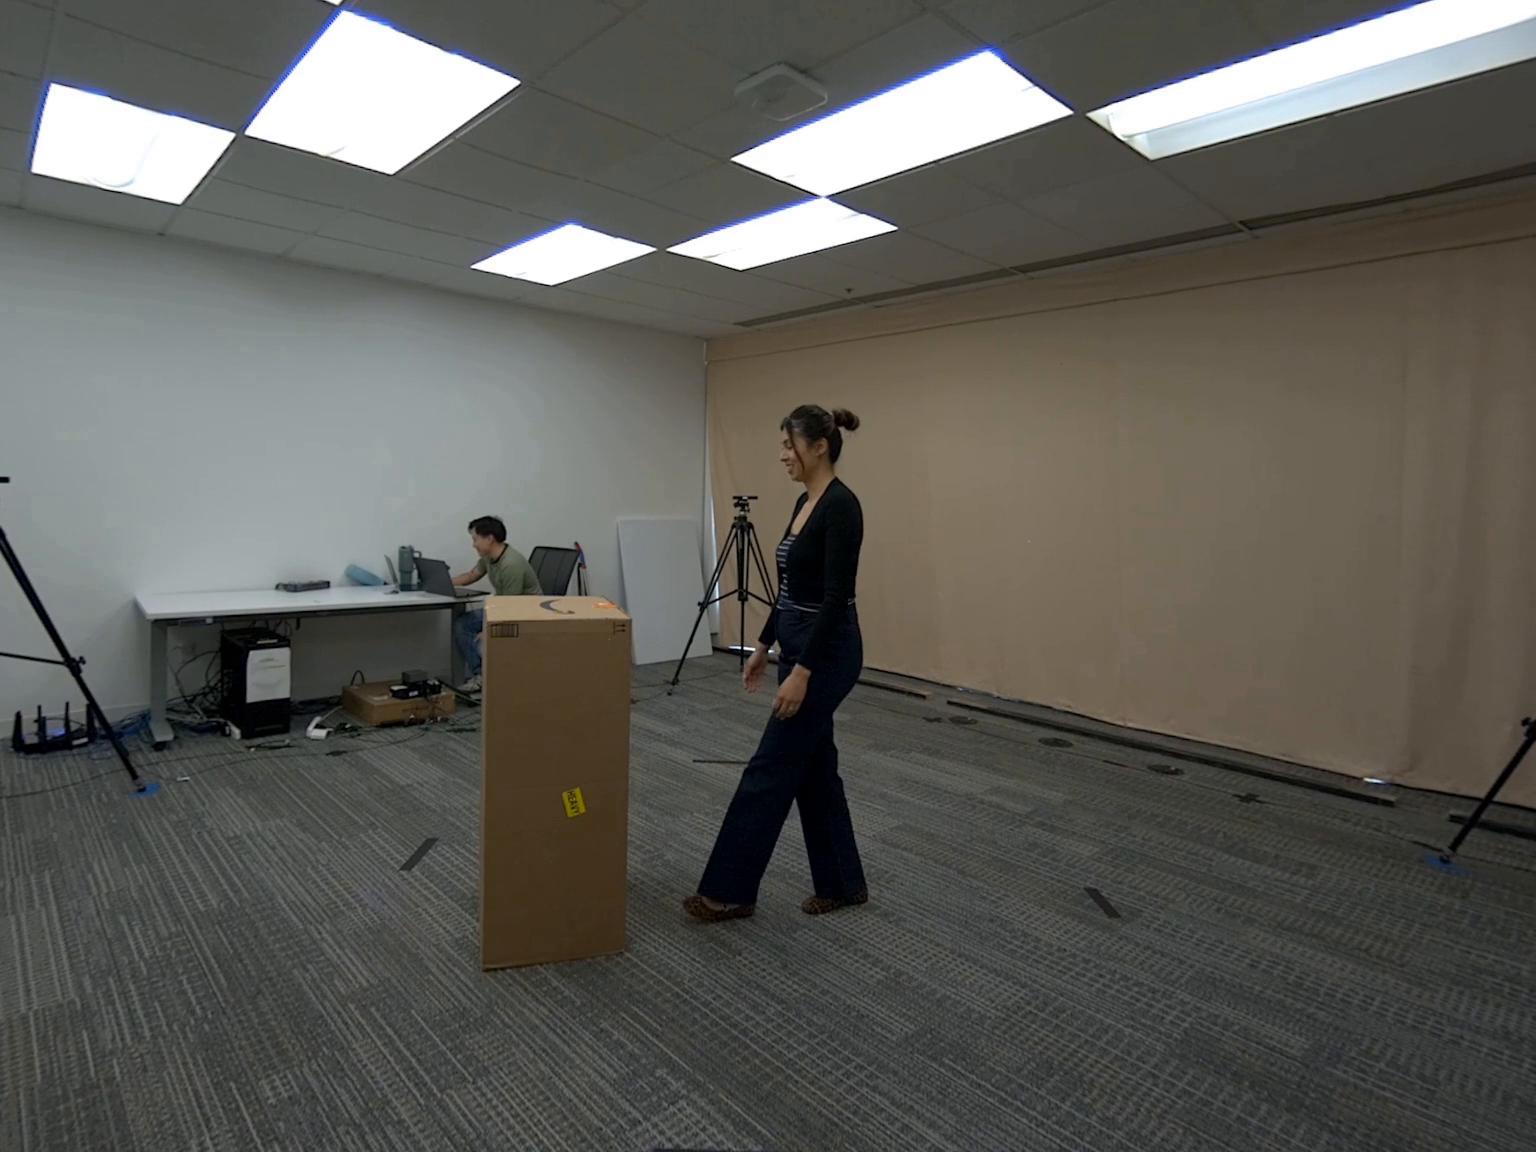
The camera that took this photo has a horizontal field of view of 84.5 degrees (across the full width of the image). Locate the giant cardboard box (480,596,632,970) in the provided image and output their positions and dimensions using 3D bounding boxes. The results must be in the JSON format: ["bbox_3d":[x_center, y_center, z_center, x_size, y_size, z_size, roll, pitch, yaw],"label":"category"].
[{"bbox_3d":[-0.712,0.613,2.743,0.420,1.023,0.587,0,3,-19],"label":"giant cardboard box"}]
